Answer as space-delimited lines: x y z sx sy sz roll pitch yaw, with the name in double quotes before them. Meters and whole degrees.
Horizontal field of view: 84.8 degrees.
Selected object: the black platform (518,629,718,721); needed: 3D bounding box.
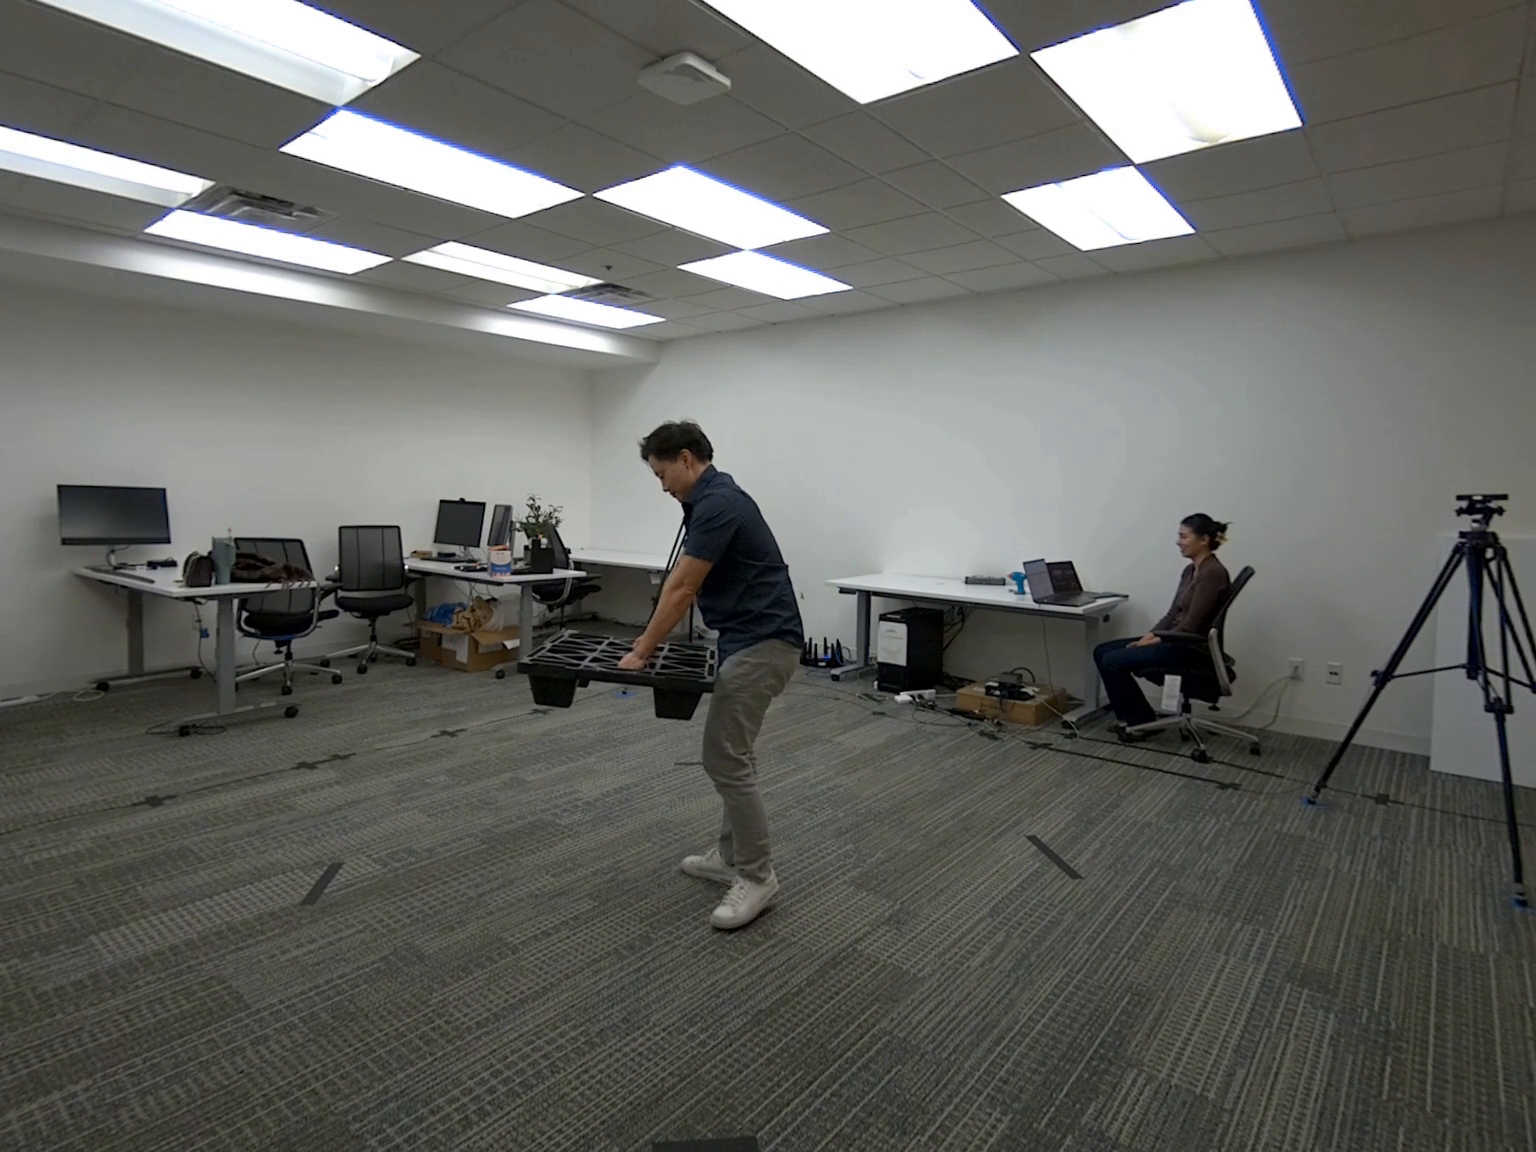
"black platform" -0.490 0.342 2.926 0.605 0.143 0.806 6 1 -2
